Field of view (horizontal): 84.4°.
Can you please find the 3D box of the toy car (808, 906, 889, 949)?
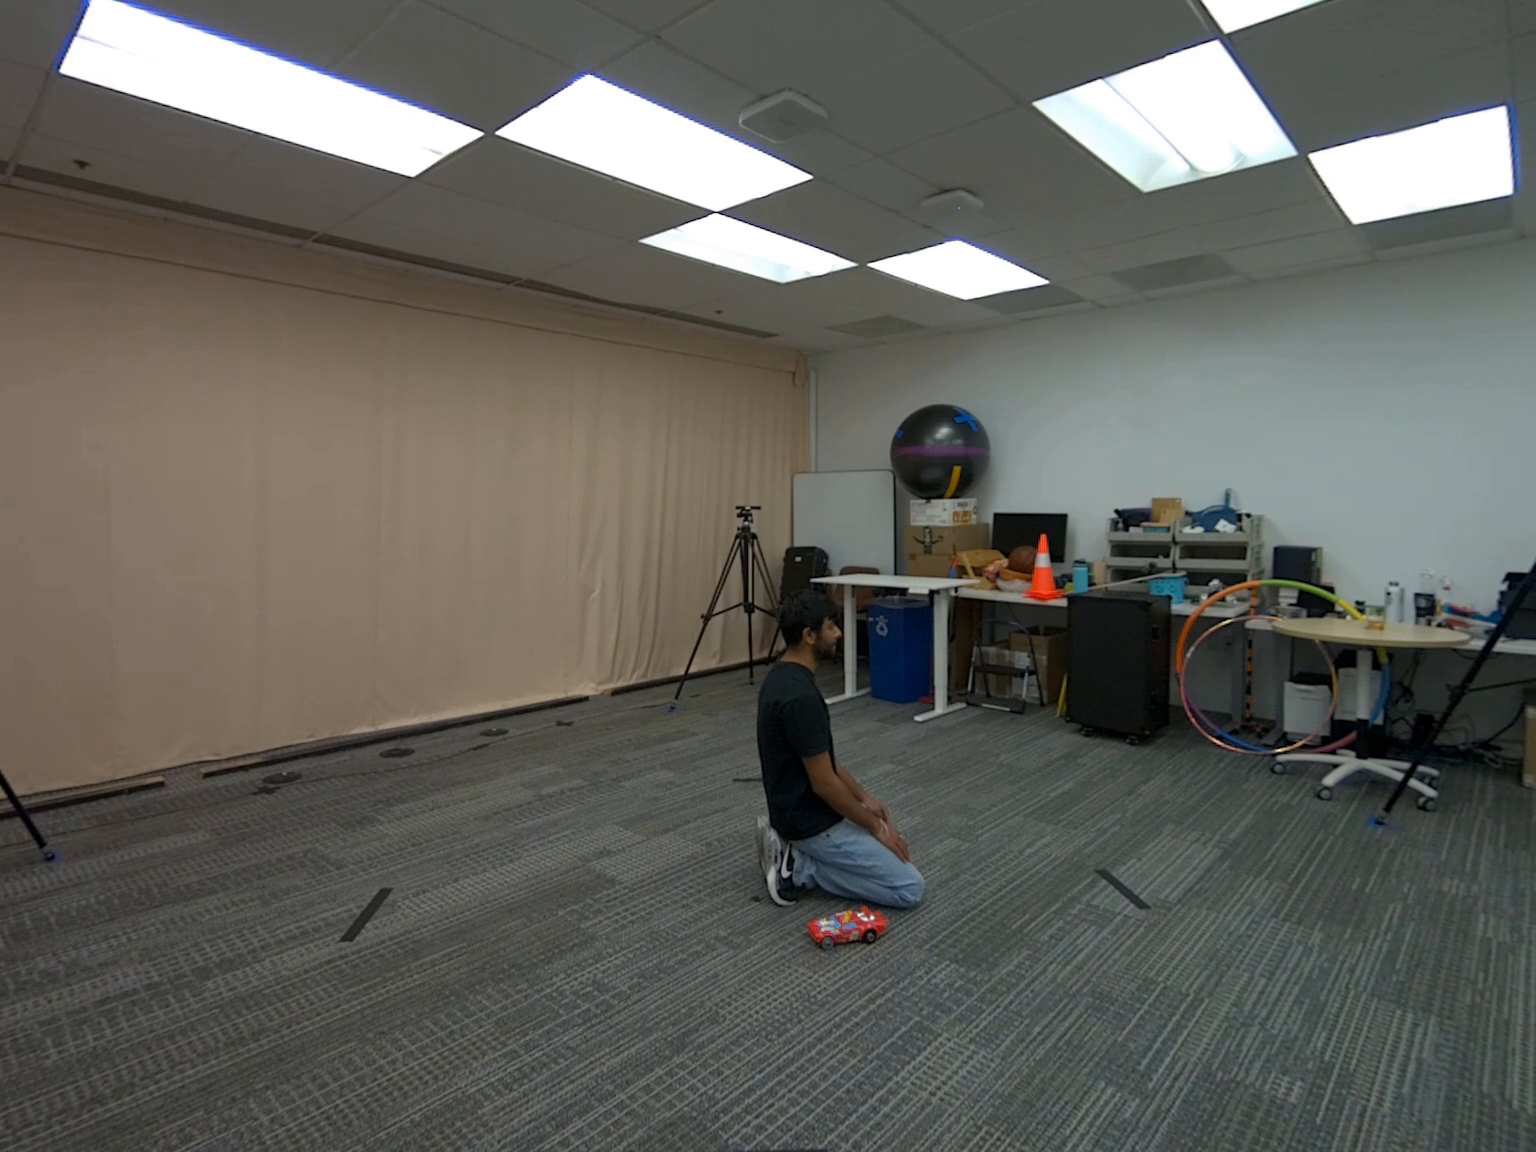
[{"bbox_3d":[0.262,1.128,2.713,0.251,0.083,0.133,-12,8,-14],"label":"toy car"}]
